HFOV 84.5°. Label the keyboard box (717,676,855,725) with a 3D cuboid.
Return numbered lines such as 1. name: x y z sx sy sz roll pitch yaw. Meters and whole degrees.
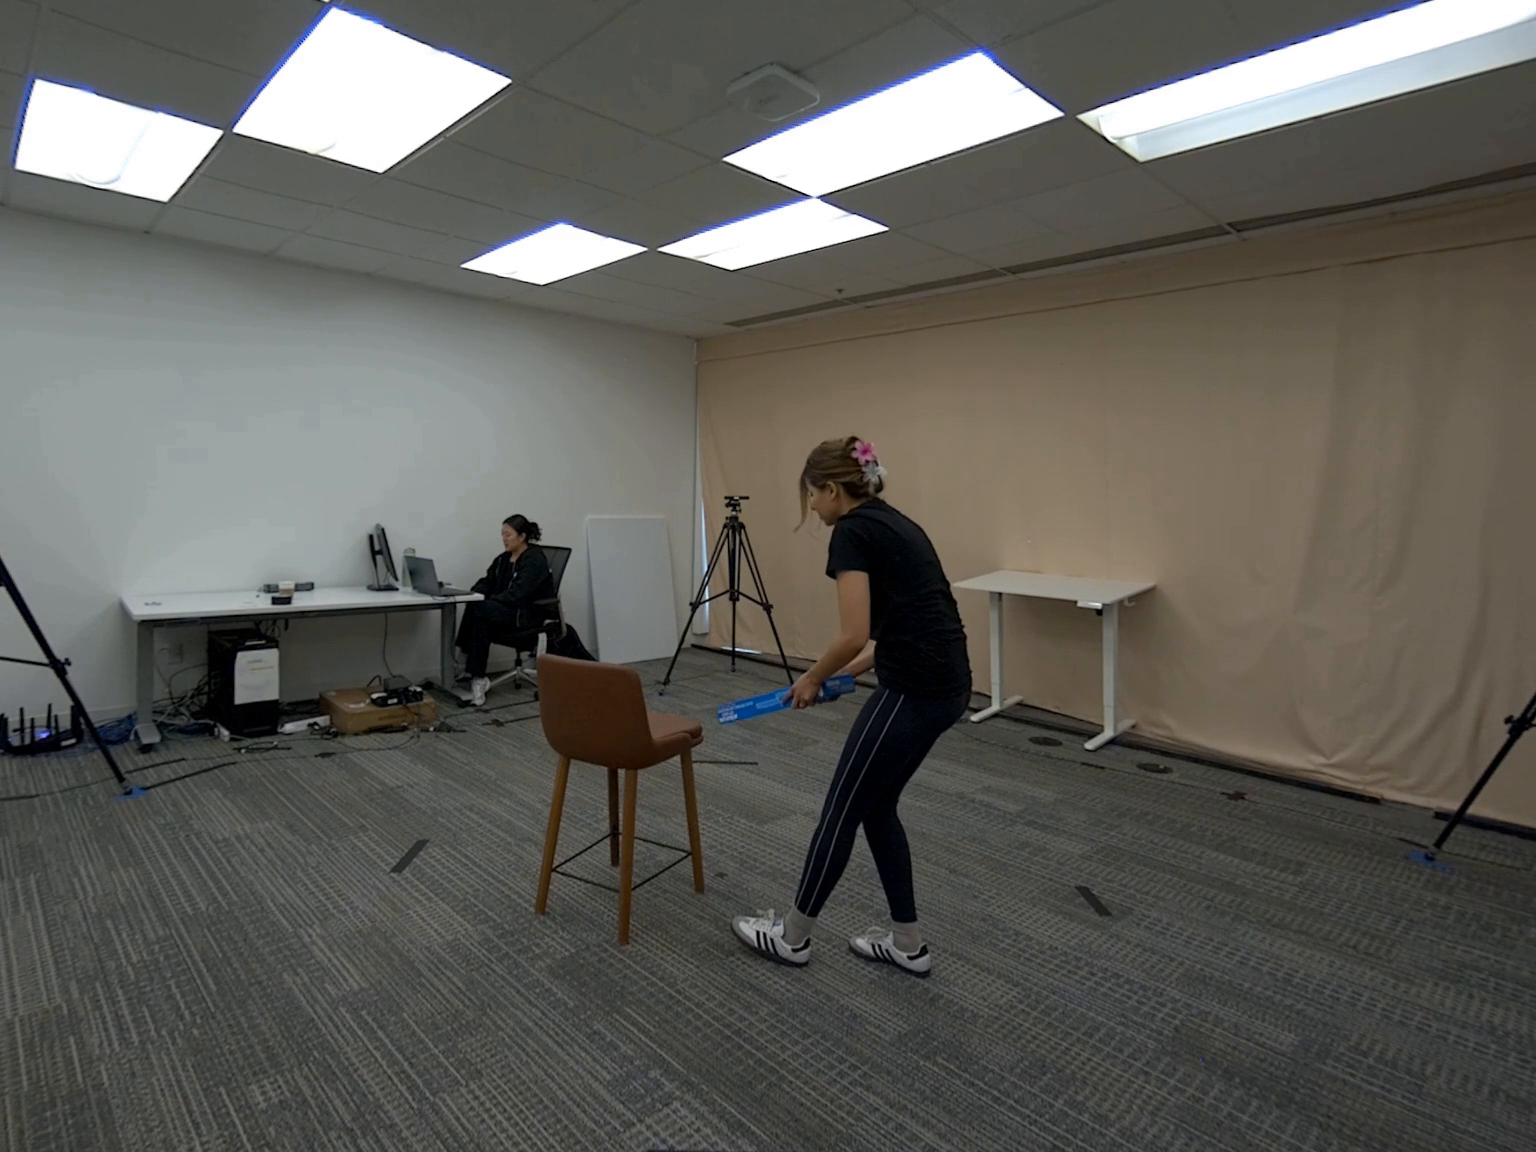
1. keyboard box: 0.044 0.402 2.701 0.442 0.060 0.172 -20 -12 35
